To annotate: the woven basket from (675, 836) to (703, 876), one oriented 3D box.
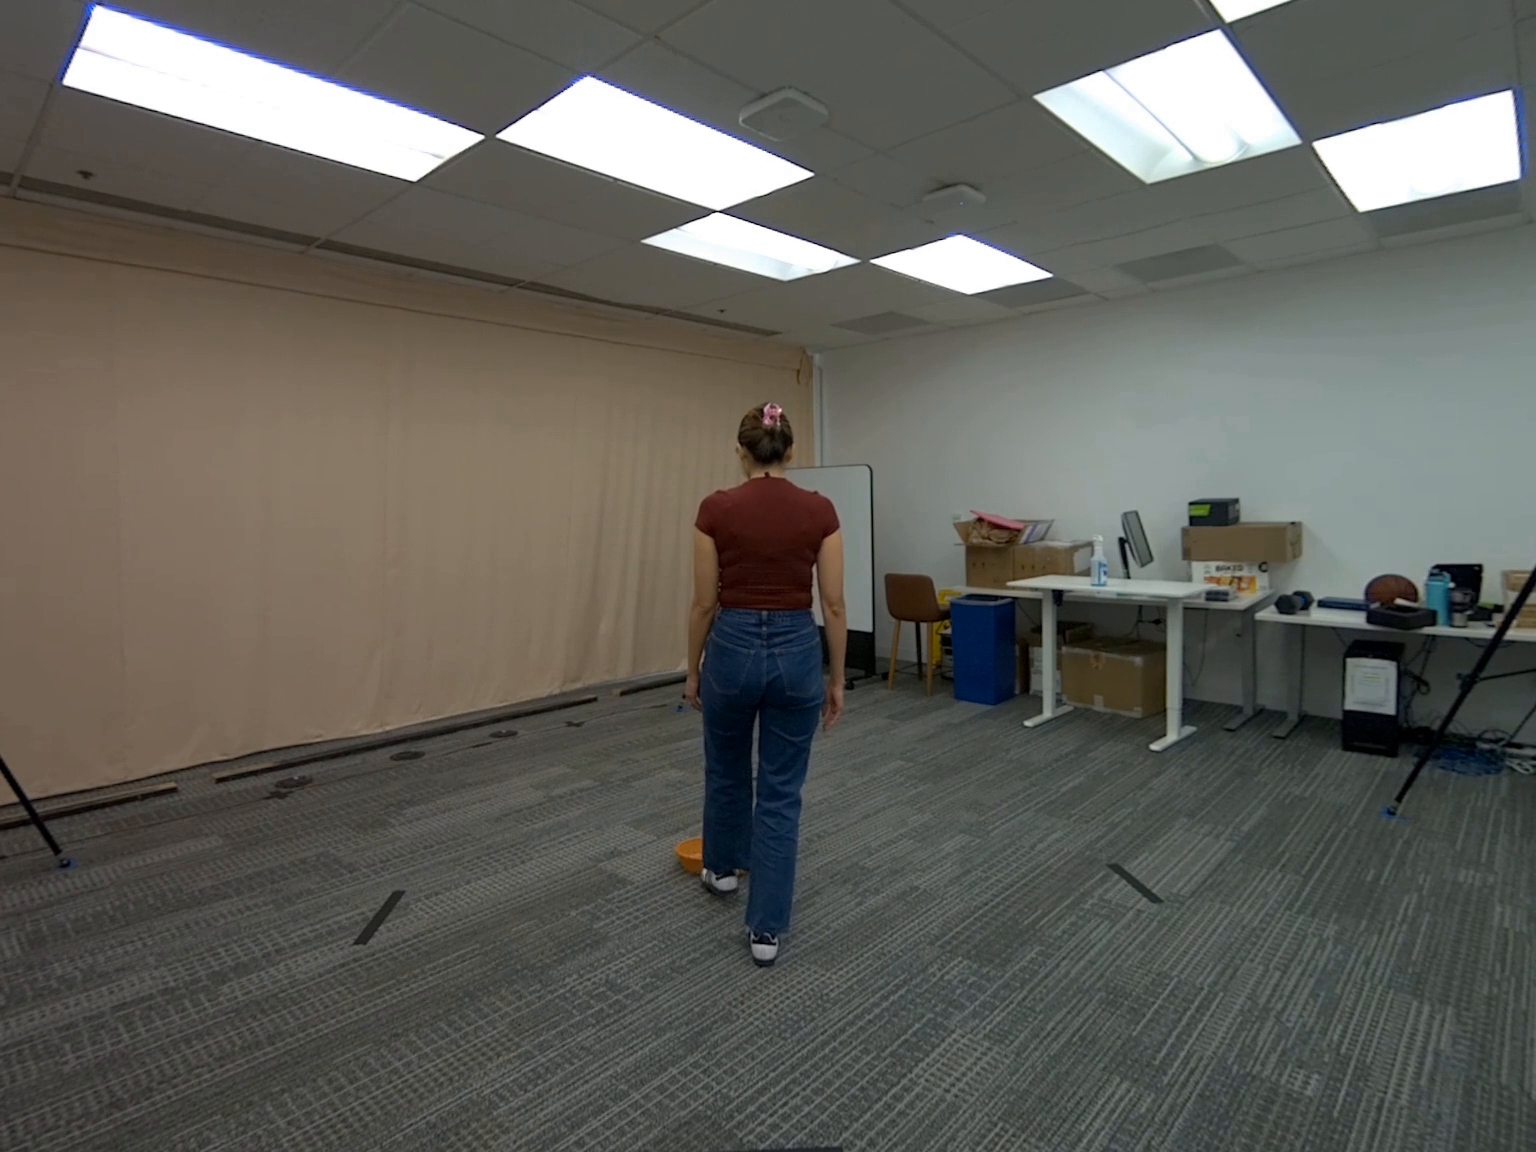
[{"bbox_3d":[-0.185,1.076,3.247,0.356,0.073,0.249,-1,2,14],"label":"woven basket"}]
